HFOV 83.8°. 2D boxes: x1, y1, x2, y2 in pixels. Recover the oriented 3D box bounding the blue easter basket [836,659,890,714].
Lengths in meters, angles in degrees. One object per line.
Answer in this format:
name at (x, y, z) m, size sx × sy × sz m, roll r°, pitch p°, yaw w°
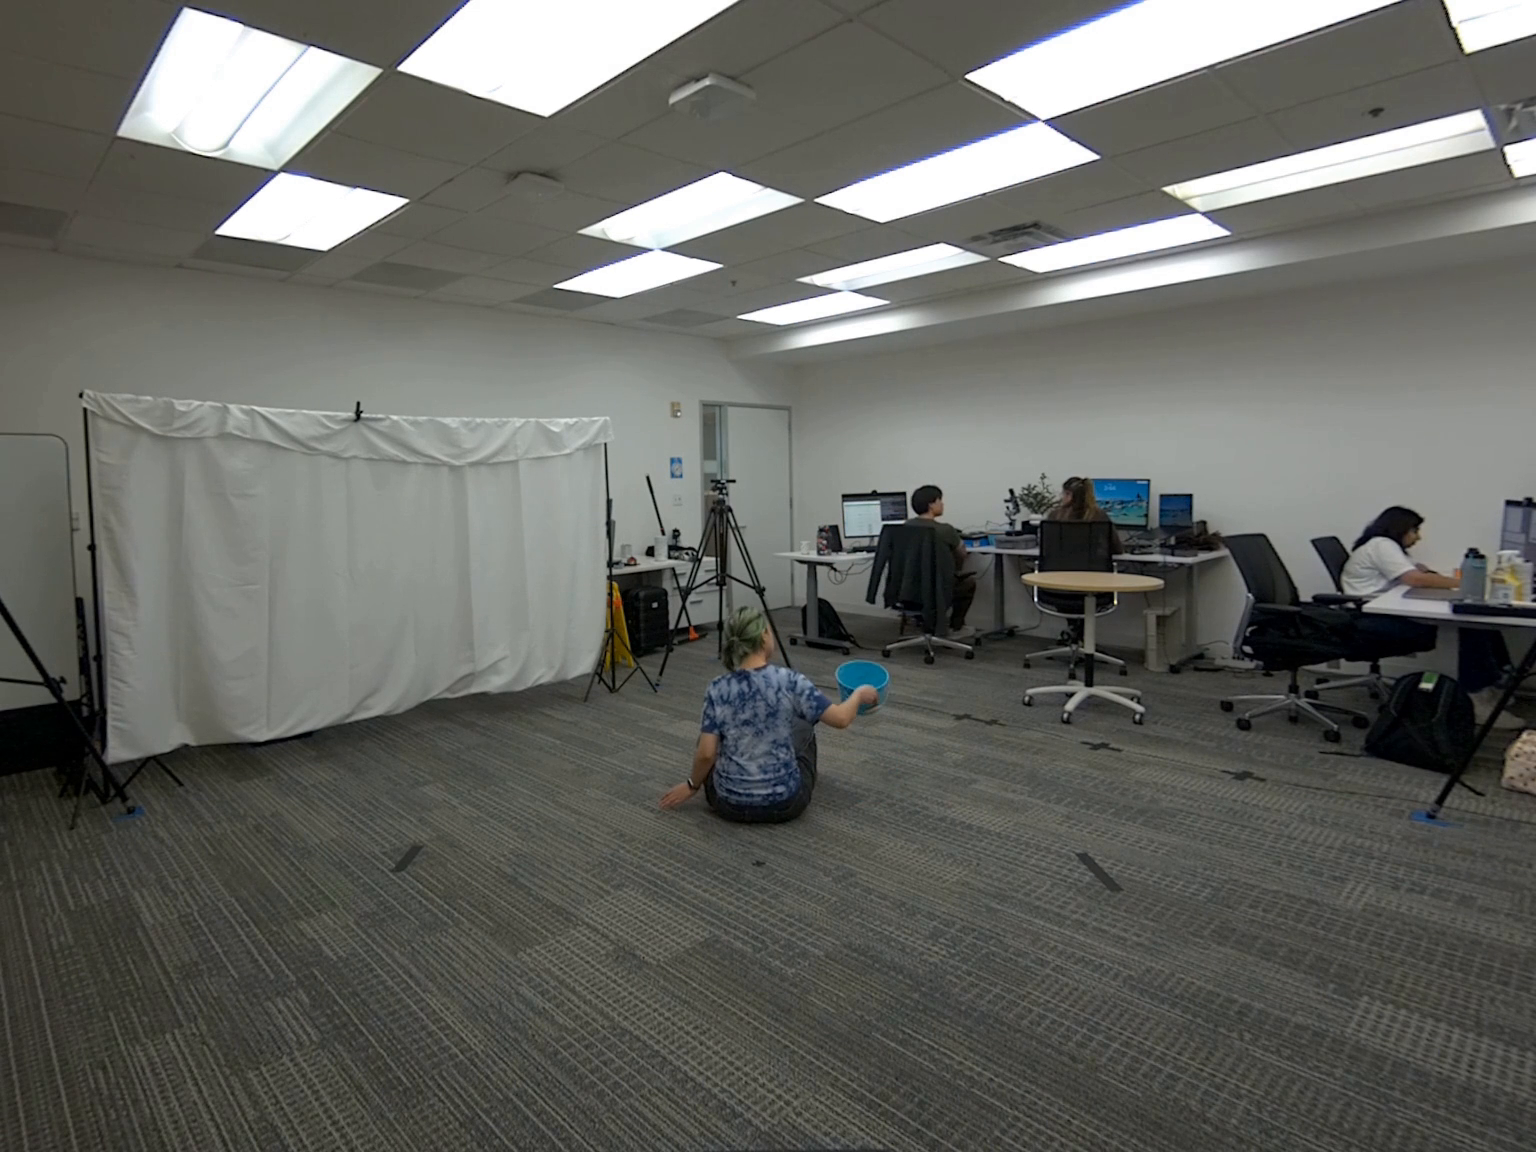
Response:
blue easter basket at (0.418, 0.510, 3.815) m, size 0.244 × 0.152 × 0.249 m, roll -3°, pitch 25°, yaw 0°
